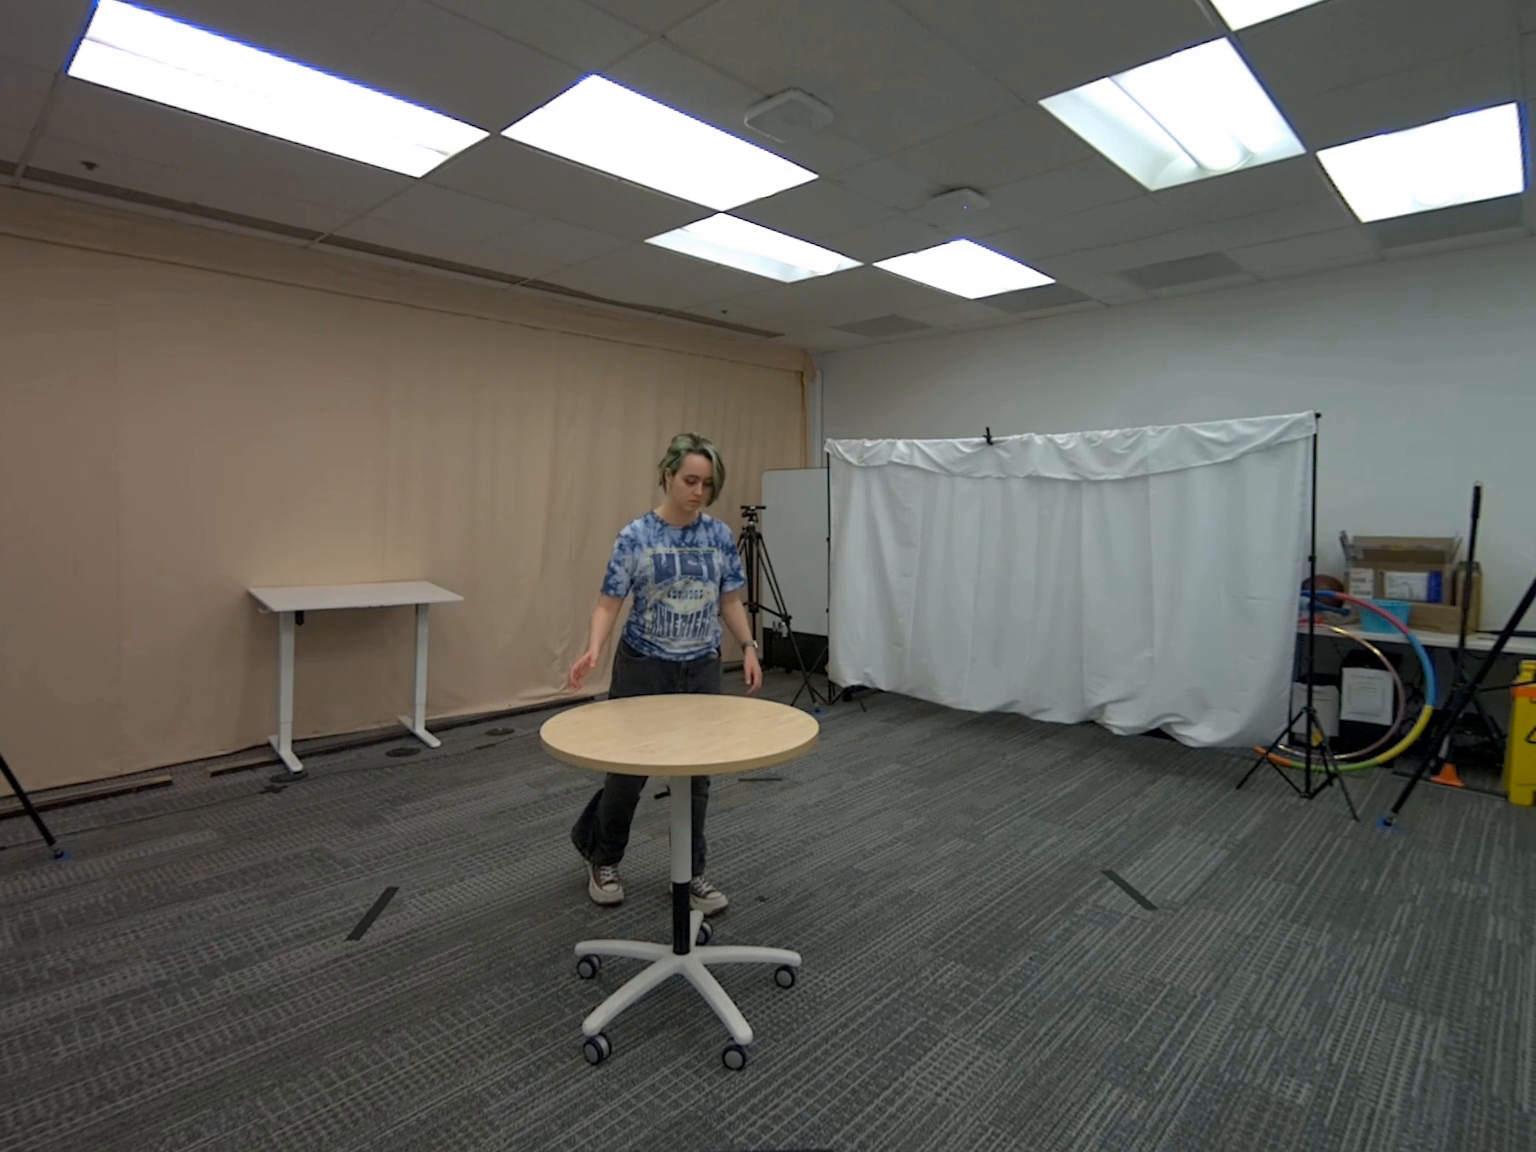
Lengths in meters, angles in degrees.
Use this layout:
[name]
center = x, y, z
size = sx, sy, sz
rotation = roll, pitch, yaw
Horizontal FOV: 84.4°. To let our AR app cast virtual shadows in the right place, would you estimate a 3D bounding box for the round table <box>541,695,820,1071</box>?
[round table]
center = -0.237, 0.808, 2.360
size = 0.763, 0.792, 0.767
rotation = 0, 4, -2
